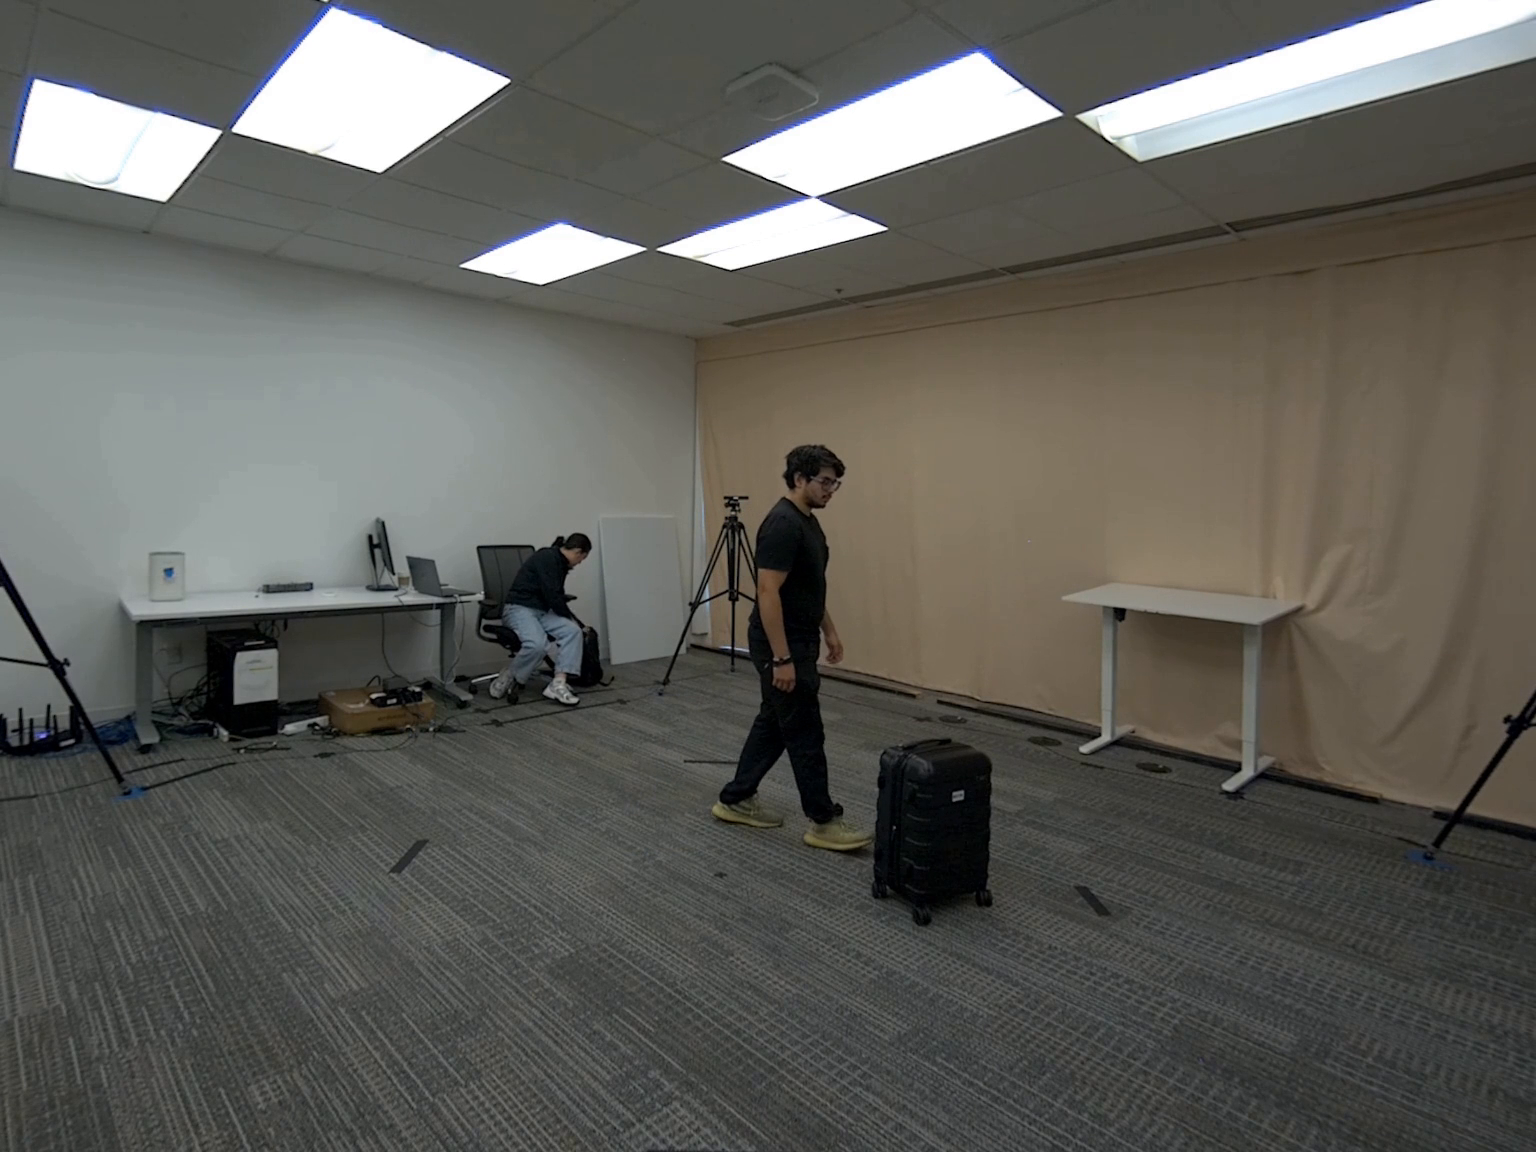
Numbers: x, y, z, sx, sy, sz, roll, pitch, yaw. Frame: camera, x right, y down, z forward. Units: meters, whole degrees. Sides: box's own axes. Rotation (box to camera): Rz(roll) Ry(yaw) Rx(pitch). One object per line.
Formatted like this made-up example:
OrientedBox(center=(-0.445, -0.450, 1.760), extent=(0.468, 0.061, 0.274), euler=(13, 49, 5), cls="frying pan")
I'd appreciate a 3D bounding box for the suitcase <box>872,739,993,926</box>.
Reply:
OrientedBox(center=(0.578, 0.857, 2.945), extent=(0.367, 0.548, 0.254), euler=(0, 3, -31), cls="suitcase")
